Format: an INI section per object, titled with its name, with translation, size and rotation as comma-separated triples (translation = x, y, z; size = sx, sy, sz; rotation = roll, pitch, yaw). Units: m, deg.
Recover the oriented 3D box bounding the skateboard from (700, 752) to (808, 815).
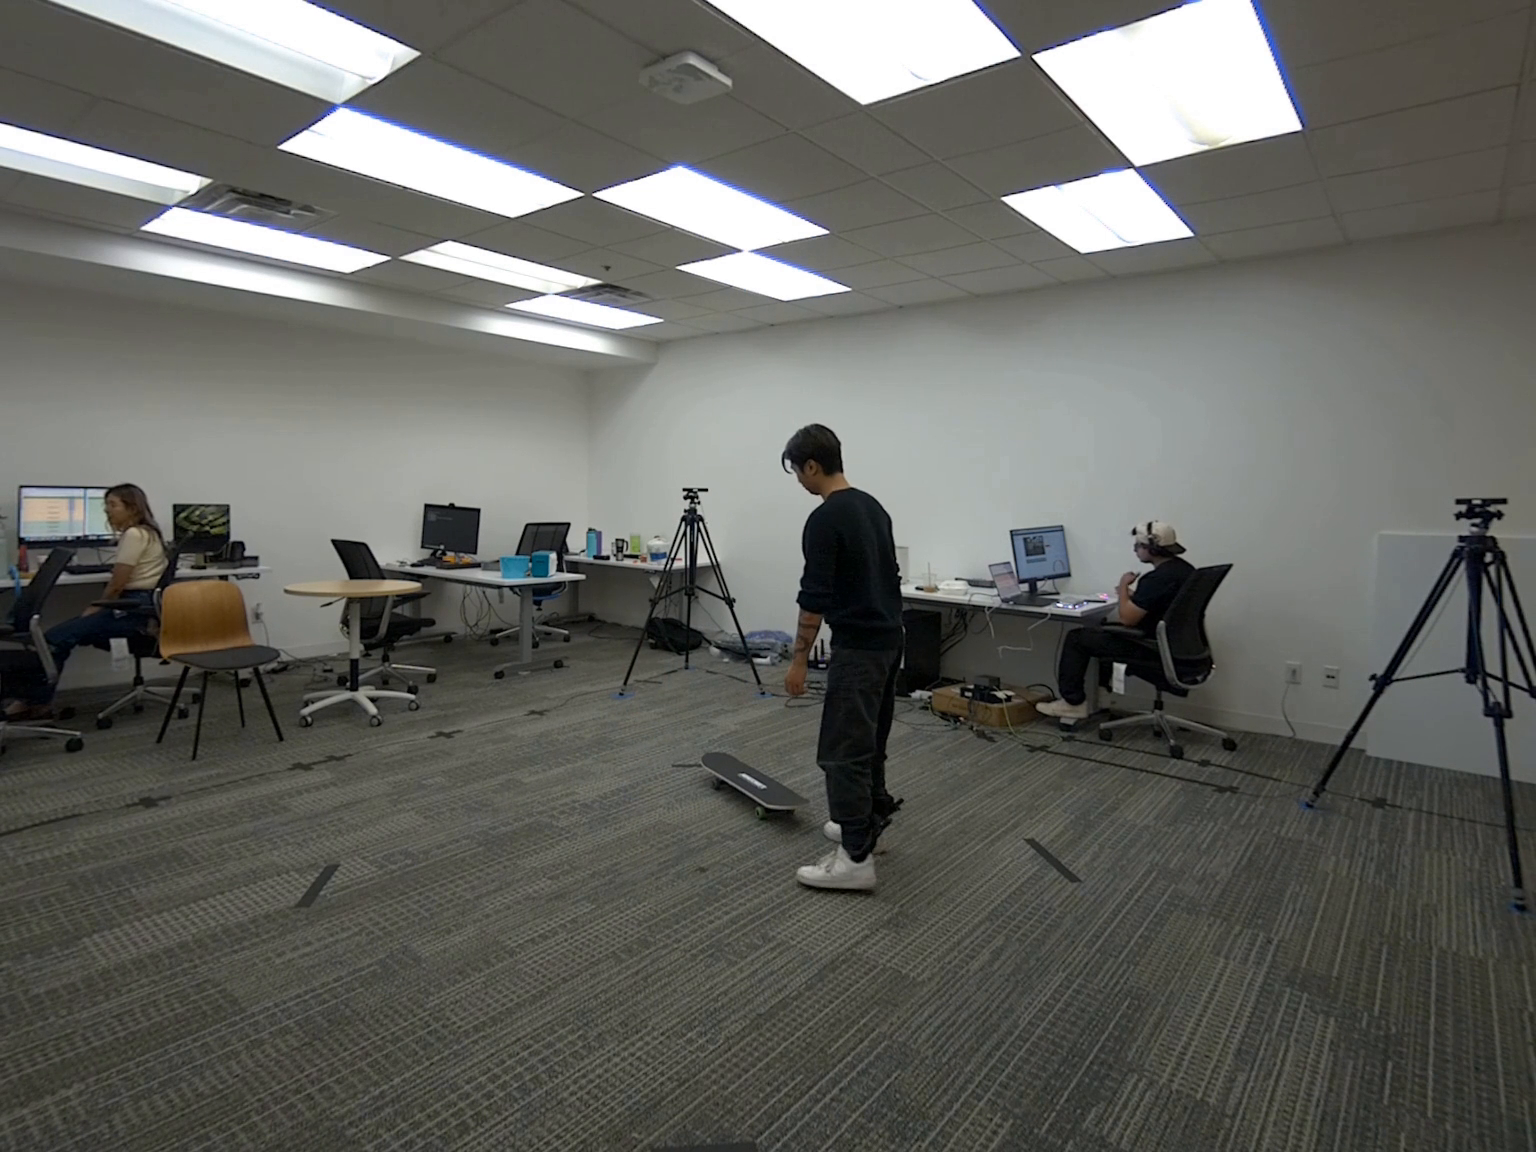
[skateboard]
translation = -0.082, 0.945, 3.810
size = 0.188, 0.110, 0.810
rotation = -2, 6, -31
